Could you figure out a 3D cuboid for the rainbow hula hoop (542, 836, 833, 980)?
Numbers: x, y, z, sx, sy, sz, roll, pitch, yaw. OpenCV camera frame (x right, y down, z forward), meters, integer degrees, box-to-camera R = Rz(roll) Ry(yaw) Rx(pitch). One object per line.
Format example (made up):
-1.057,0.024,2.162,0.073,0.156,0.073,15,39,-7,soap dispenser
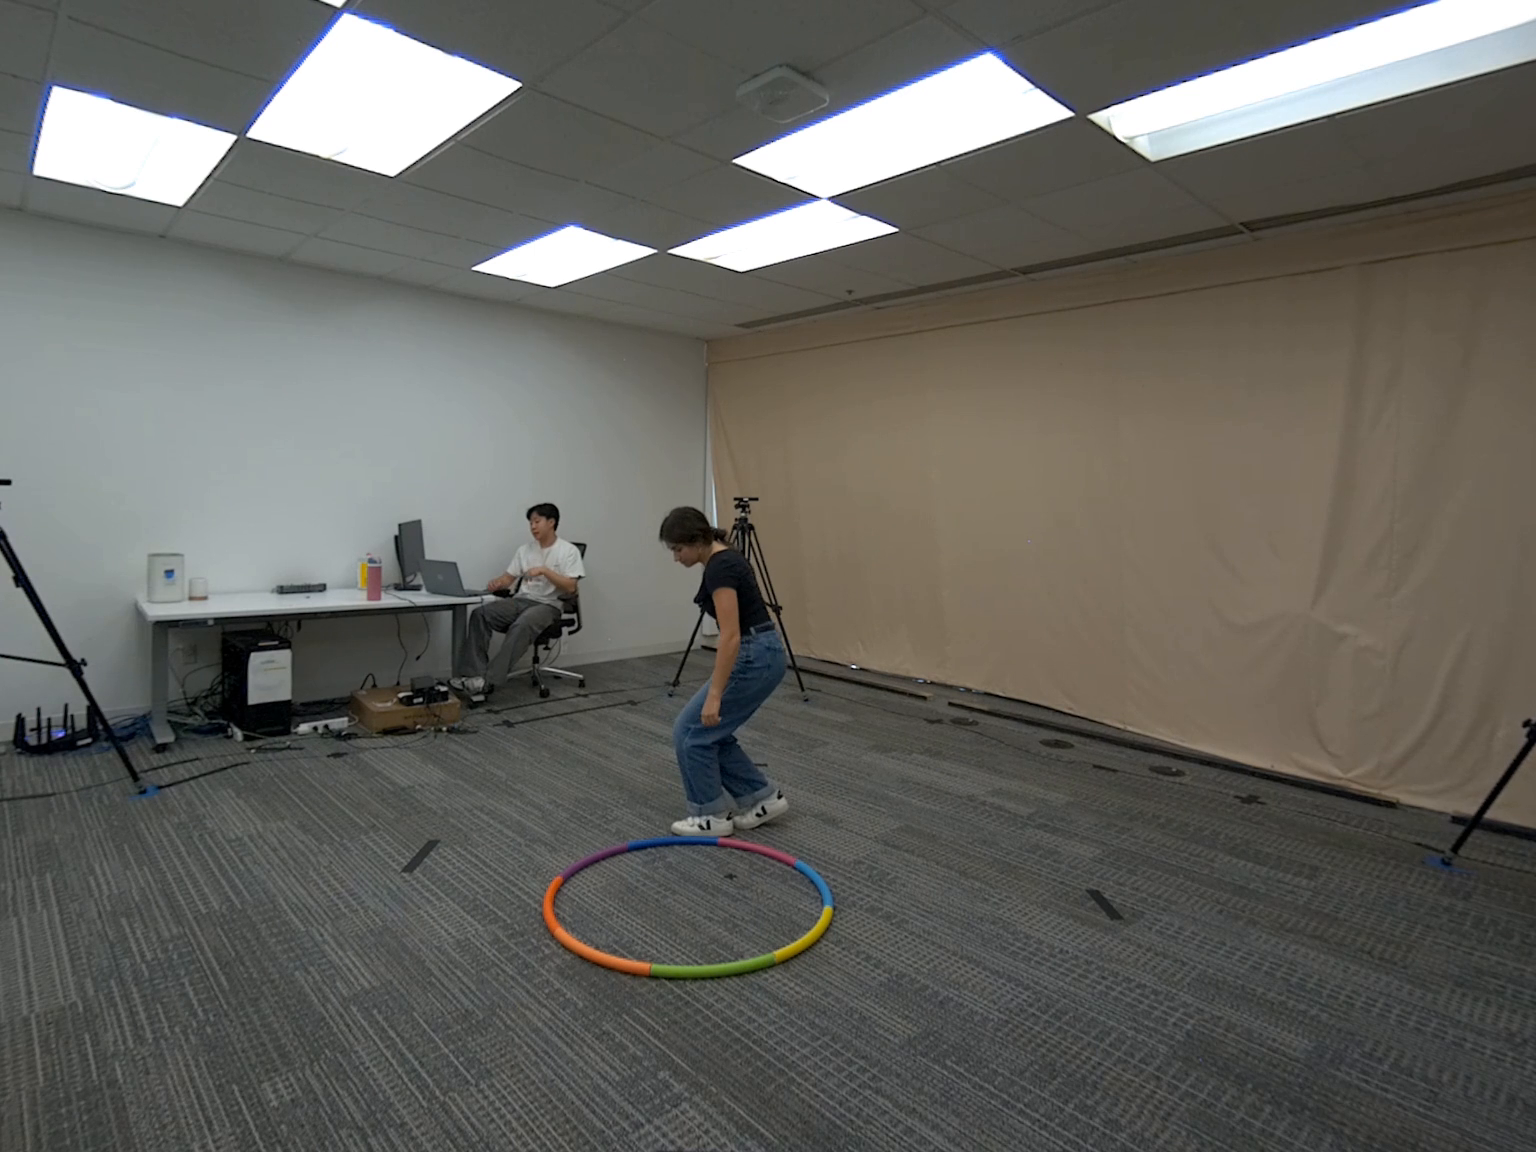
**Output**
-0.270,1.095,2.906,0.978,0.035,0.982,1,5,-1,rainbow hula hoop
